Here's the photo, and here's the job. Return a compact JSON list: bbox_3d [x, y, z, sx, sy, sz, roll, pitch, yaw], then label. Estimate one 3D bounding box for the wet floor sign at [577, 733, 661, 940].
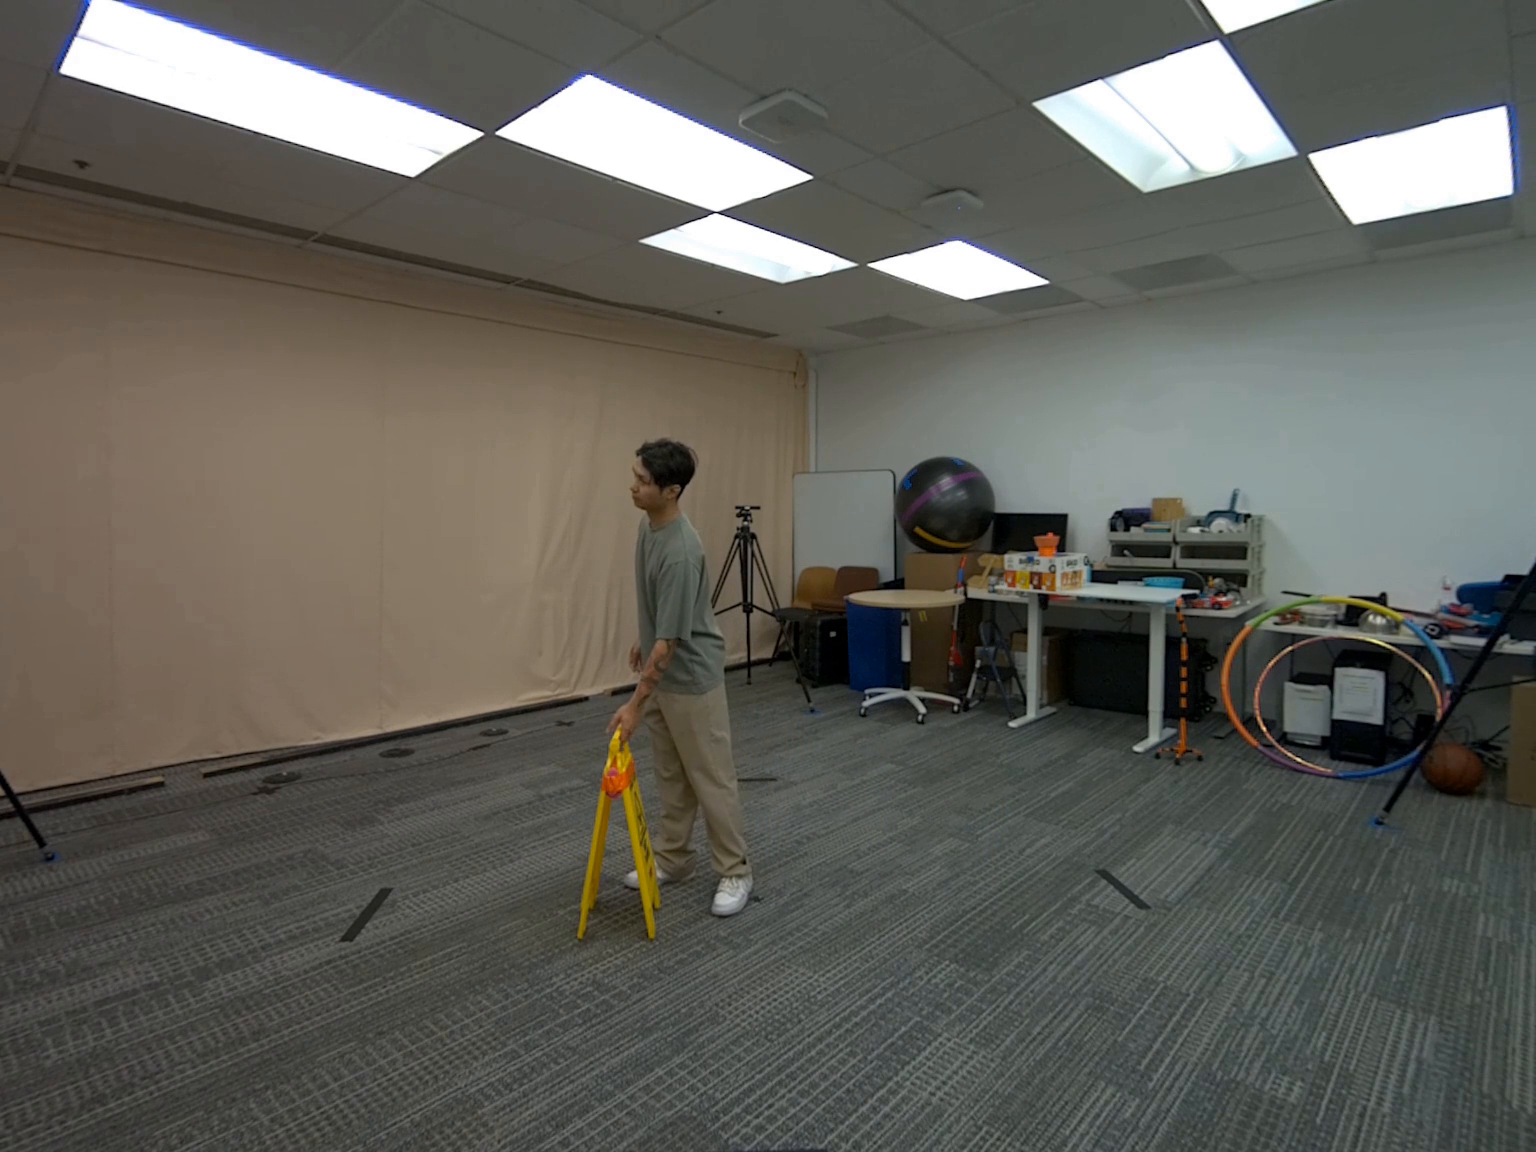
[{"bbox_3d":[-0.495,0.832,2.820,0.289,0.644,0.283,-1,4,-2],"label":"wet floor sign"}]
